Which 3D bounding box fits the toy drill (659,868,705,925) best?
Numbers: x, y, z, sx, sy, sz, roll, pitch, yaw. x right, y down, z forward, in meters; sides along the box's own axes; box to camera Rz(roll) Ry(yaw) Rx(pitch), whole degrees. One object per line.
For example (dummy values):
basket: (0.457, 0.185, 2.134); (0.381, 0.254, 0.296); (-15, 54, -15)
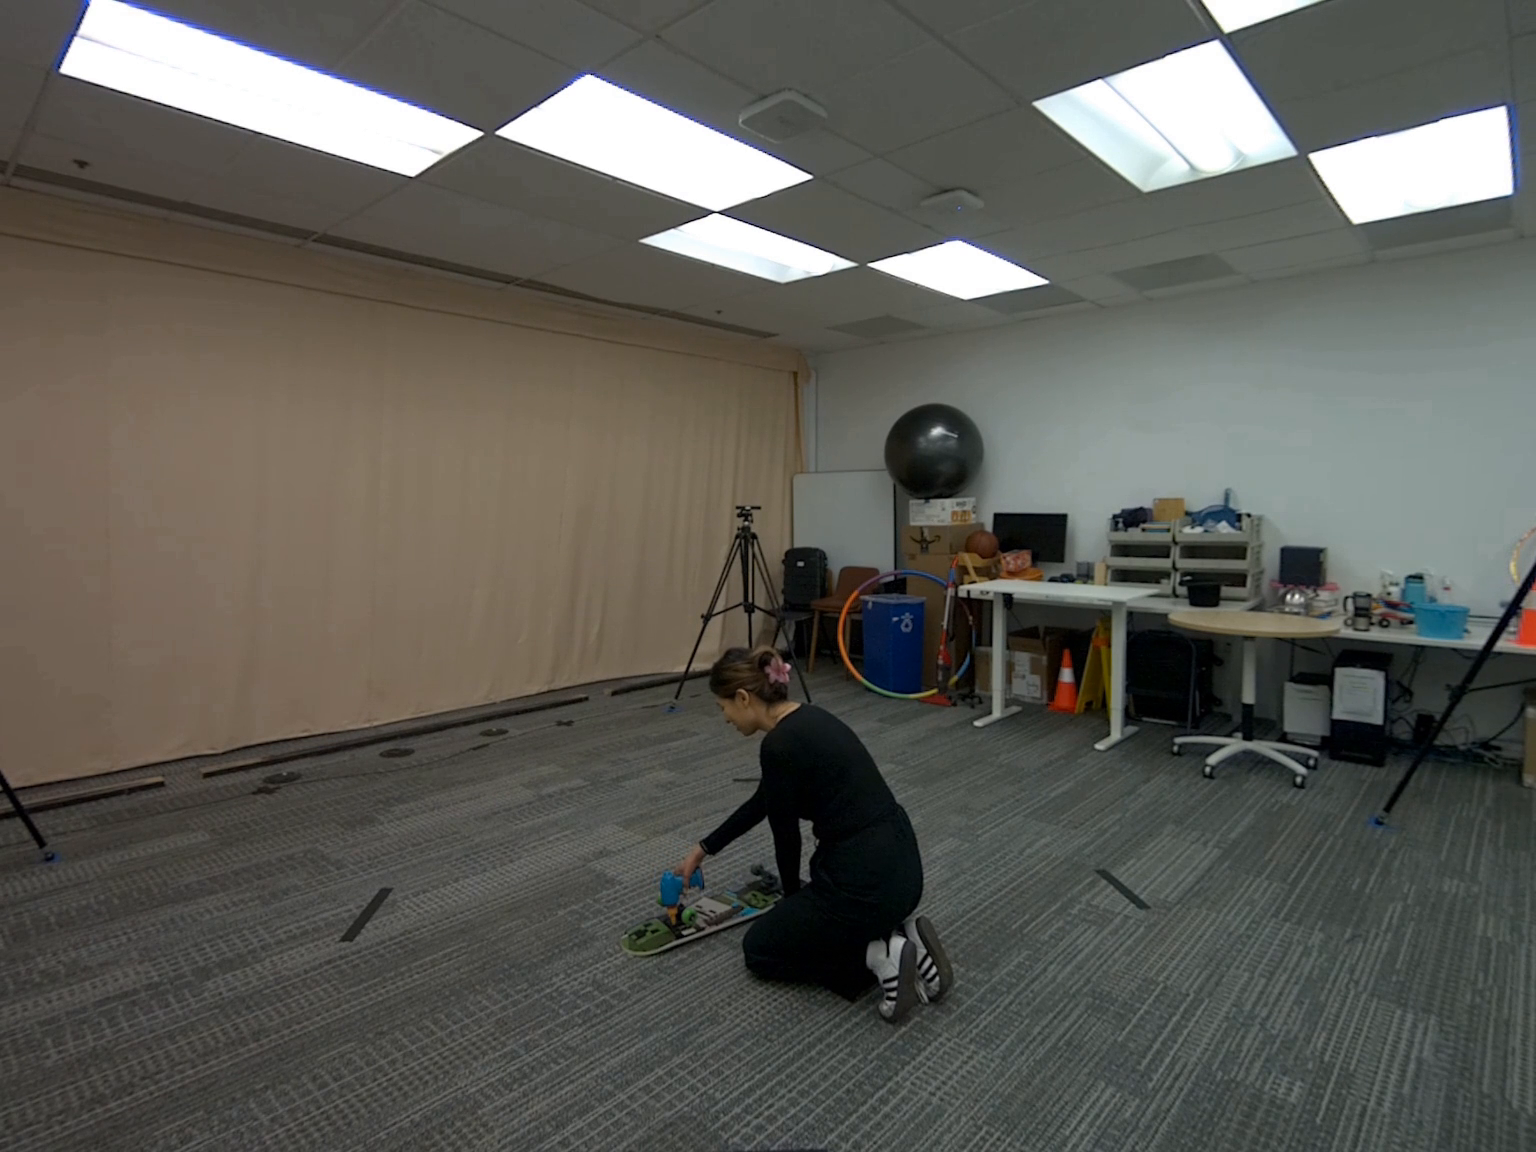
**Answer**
toy drill: (-0.267, 1.035, 2.722); (0.145, 0.171, 0.061); (-11, -9, -9)
